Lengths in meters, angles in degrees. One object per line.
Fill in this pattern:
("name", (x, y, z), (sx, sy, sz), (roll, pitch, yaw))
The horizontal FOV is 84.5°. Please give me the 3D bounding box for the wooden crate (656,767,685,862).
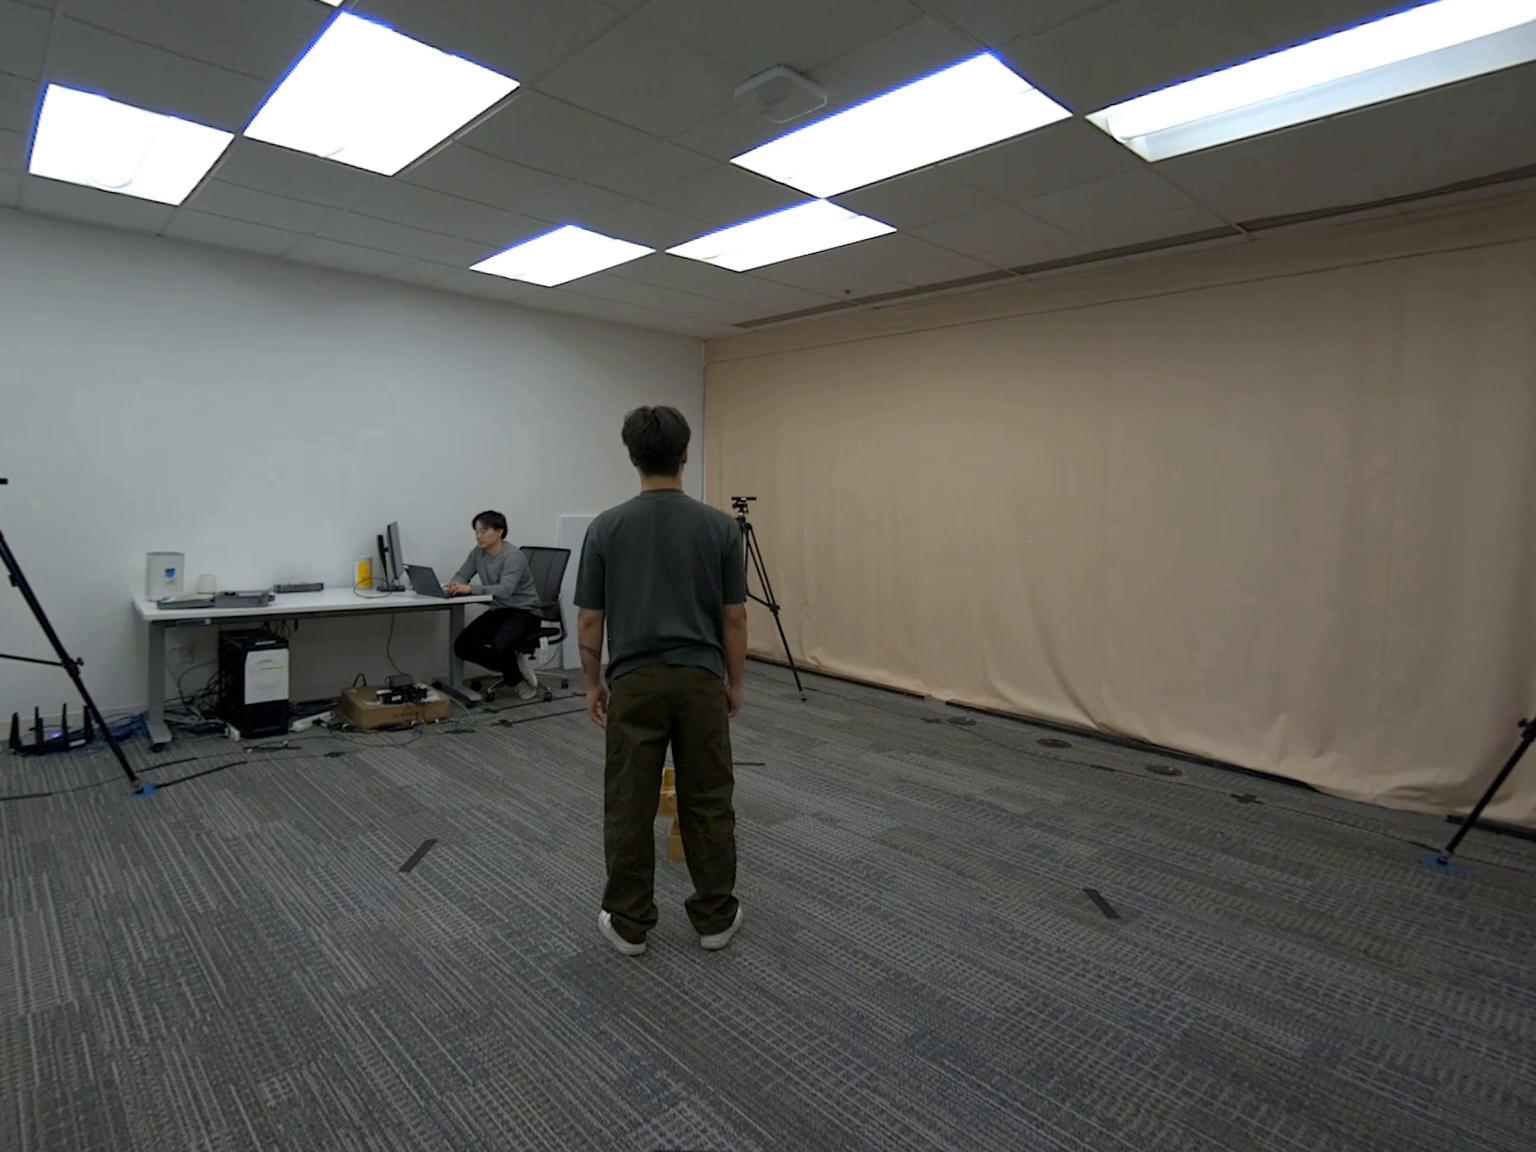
("wooden crate", (-0.287, 0.948, 3.372), (0.302, 0.272, 0.325), (2, 4, -1))
